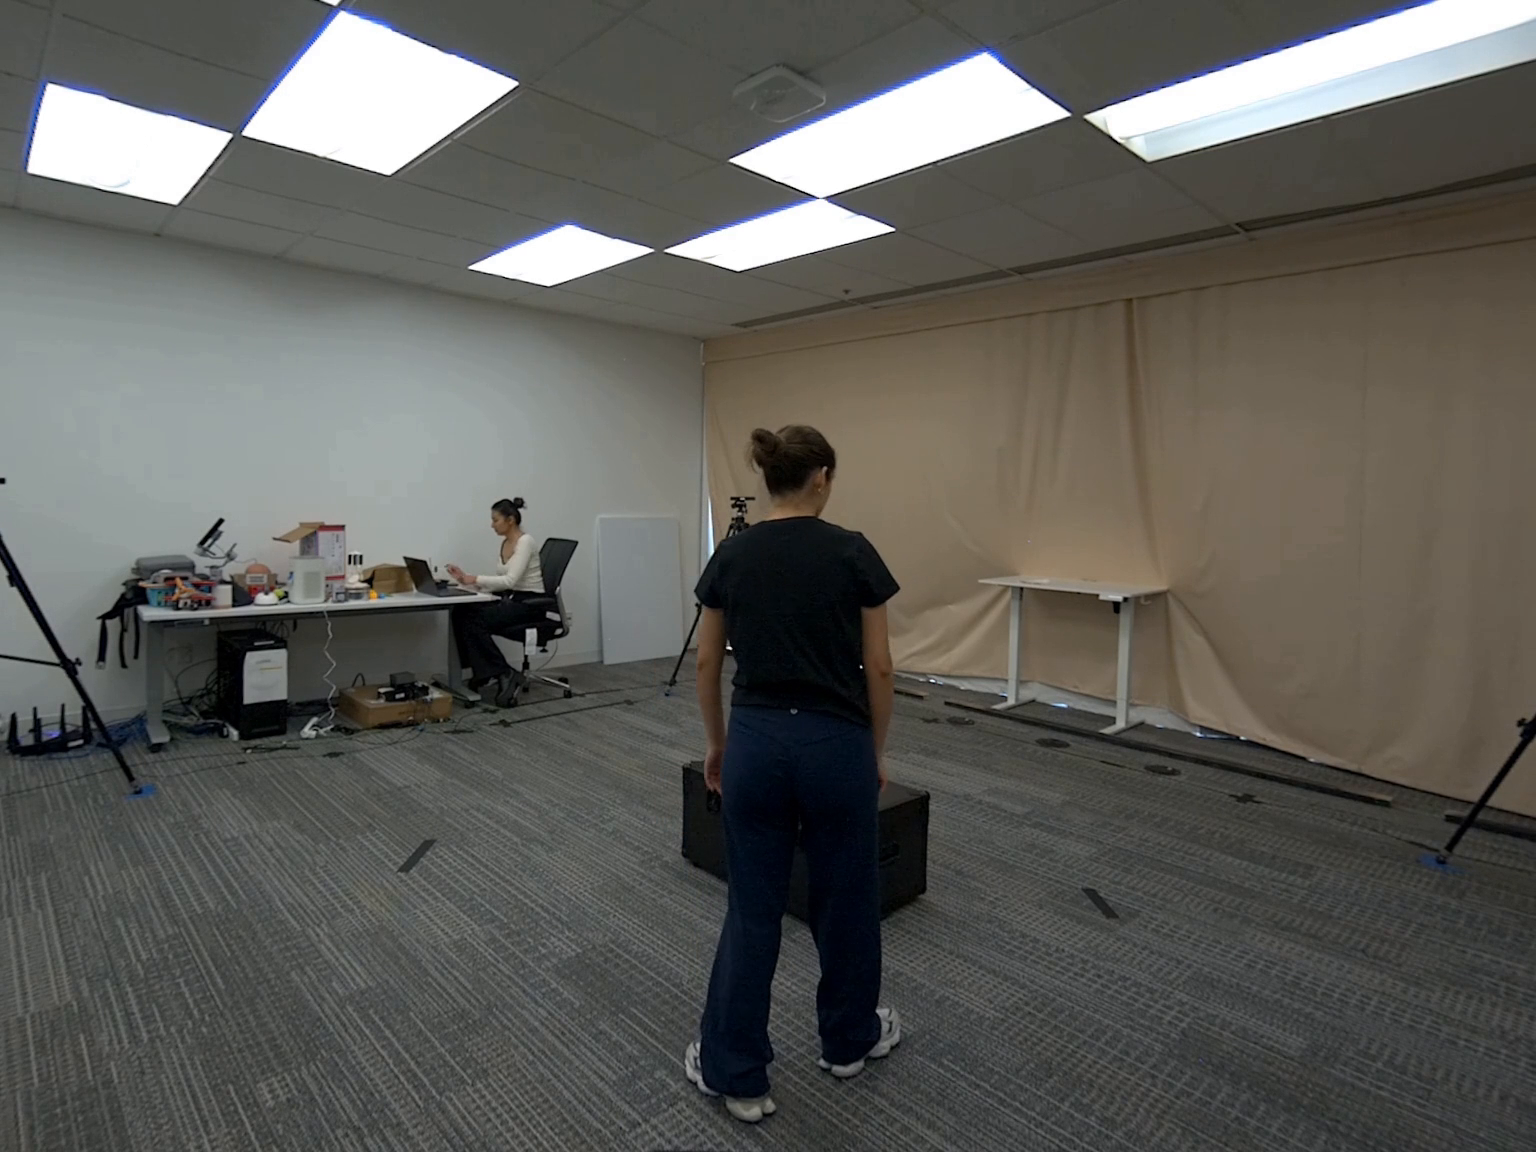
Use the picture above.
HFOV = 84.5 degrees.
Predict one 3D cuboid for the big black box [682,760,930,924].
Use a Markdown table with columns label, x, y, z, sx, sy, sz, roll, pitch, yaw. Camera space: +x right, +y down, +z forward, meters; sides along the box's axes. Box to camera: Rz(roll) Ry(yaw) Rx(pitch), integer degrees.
| label | x | y | z | sx | sy | sz | roll | pitch | yaw |
| --- | --- | --- | --- | --- | --- | --- | --- | --- | --- |
| big black box | 0.096 | 0.925 | 3.083 | 0.509 | 0.395 | 0.884 | -2 | 6 | -44 |
